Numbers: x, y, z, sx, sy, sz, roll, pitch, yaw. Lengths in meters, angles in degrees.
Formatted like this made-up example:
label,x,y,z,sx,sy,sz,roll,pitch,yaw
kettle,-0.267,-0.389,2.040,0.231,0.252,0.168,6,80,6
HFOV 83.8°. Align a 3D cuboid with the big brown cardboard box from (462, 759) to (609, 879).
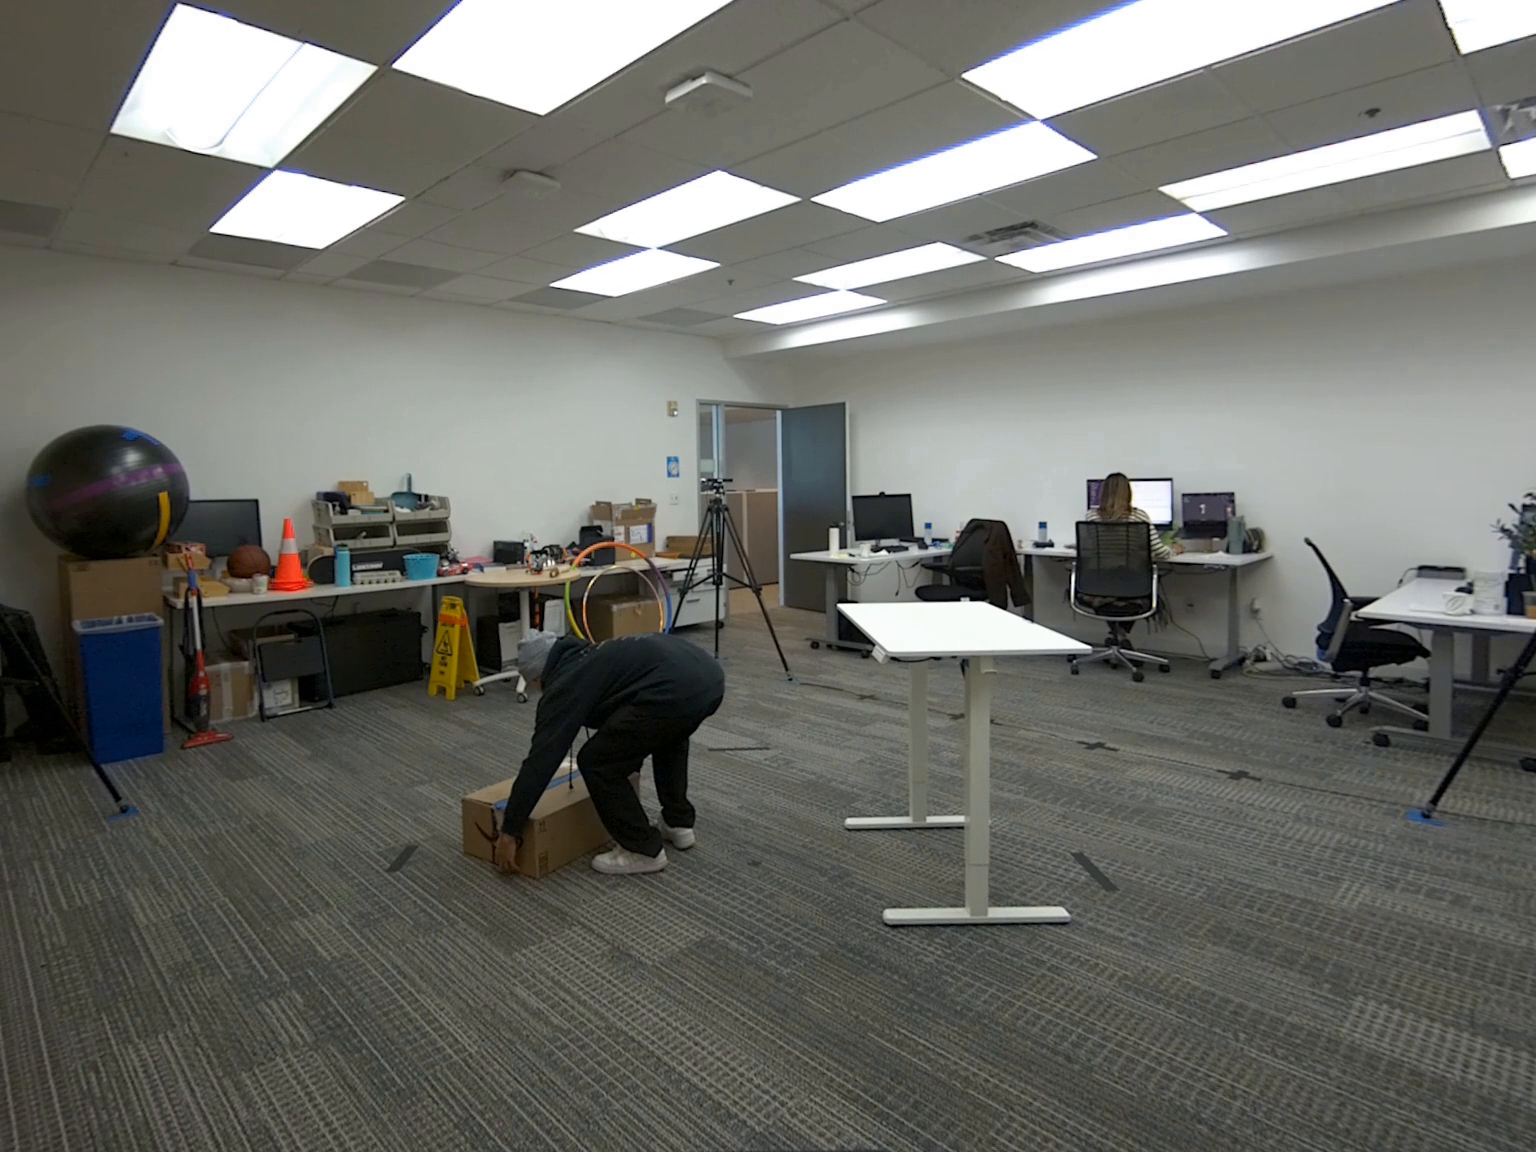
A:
label,x,y,z,sx,sy,sz,roll,pitch,yaw
big brown cardboard box,-0.834,0.928,3.355,0.429,0.232,0.576,0,7,33
